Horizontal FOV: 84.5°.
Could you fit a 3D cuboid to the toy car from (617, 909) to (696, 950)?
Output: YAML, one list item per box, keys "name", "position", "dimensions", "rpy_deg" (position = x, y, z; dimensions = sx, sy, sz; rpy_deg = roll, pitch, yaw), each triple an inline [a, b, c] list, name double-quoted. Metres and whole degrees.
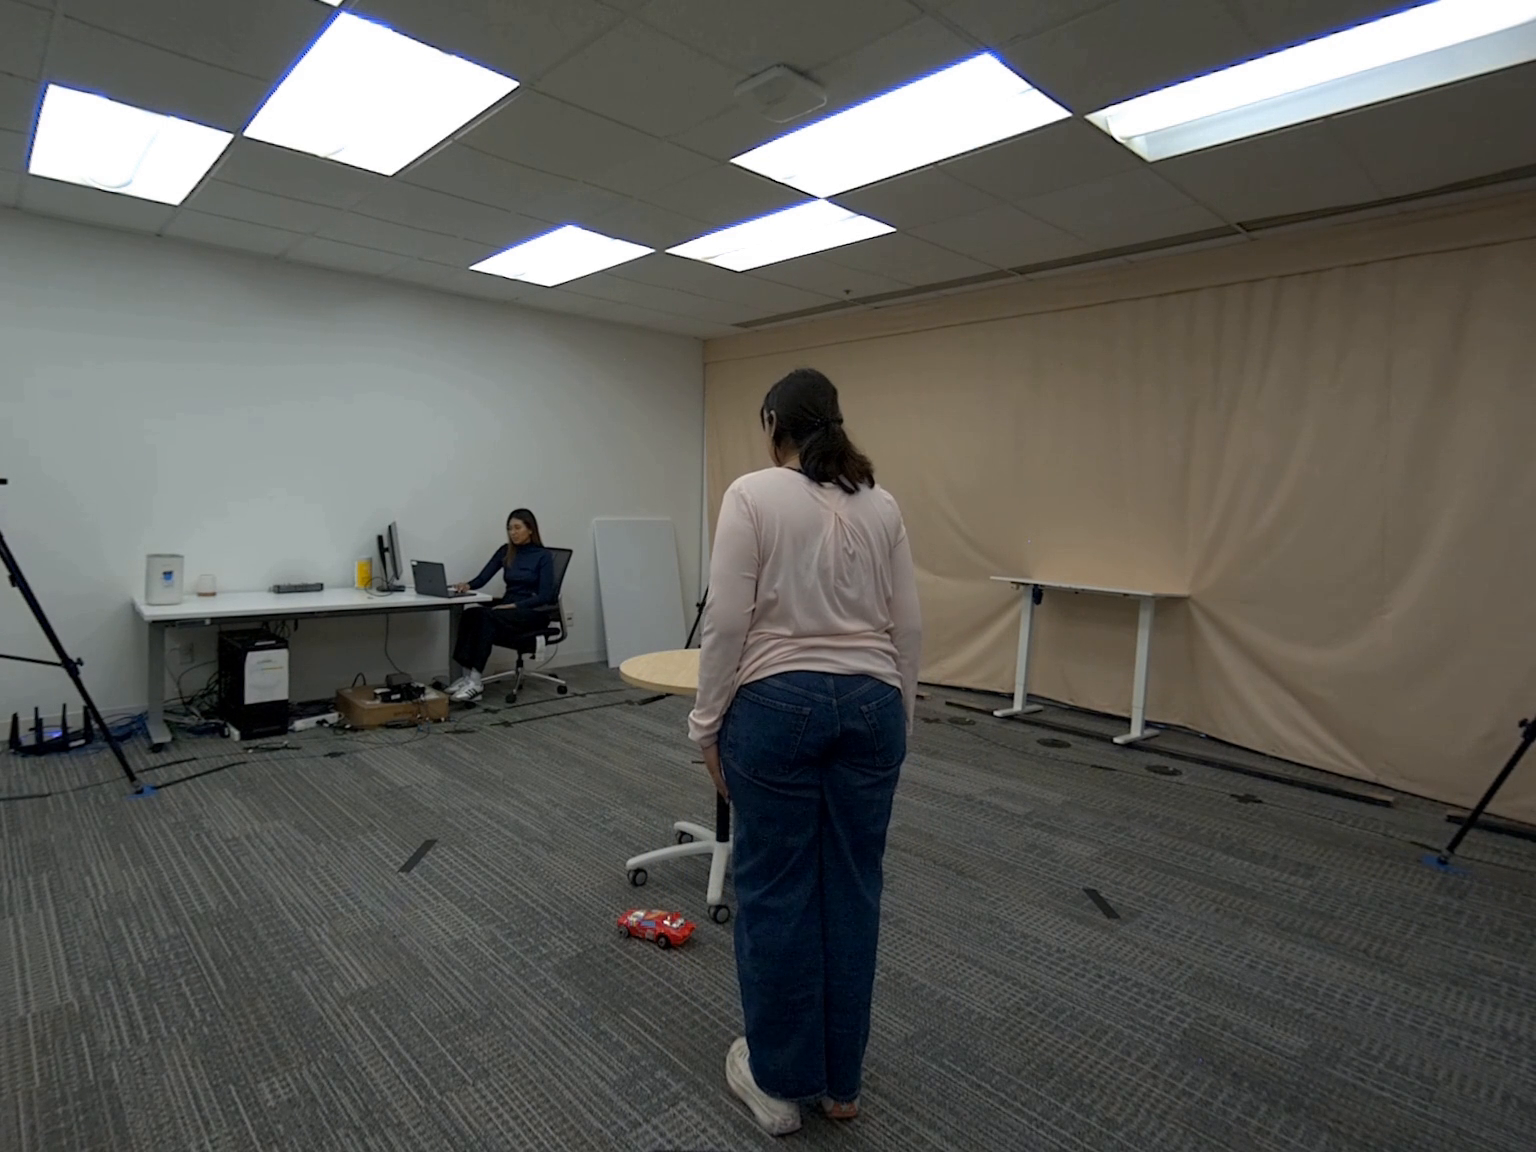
- name: "toy car"
  position: [-0.353, 1.109, 2.654]
  dimensions: [0.258, 0.083, 0.128]
  rpy_deg: [-8, 0, 25]
